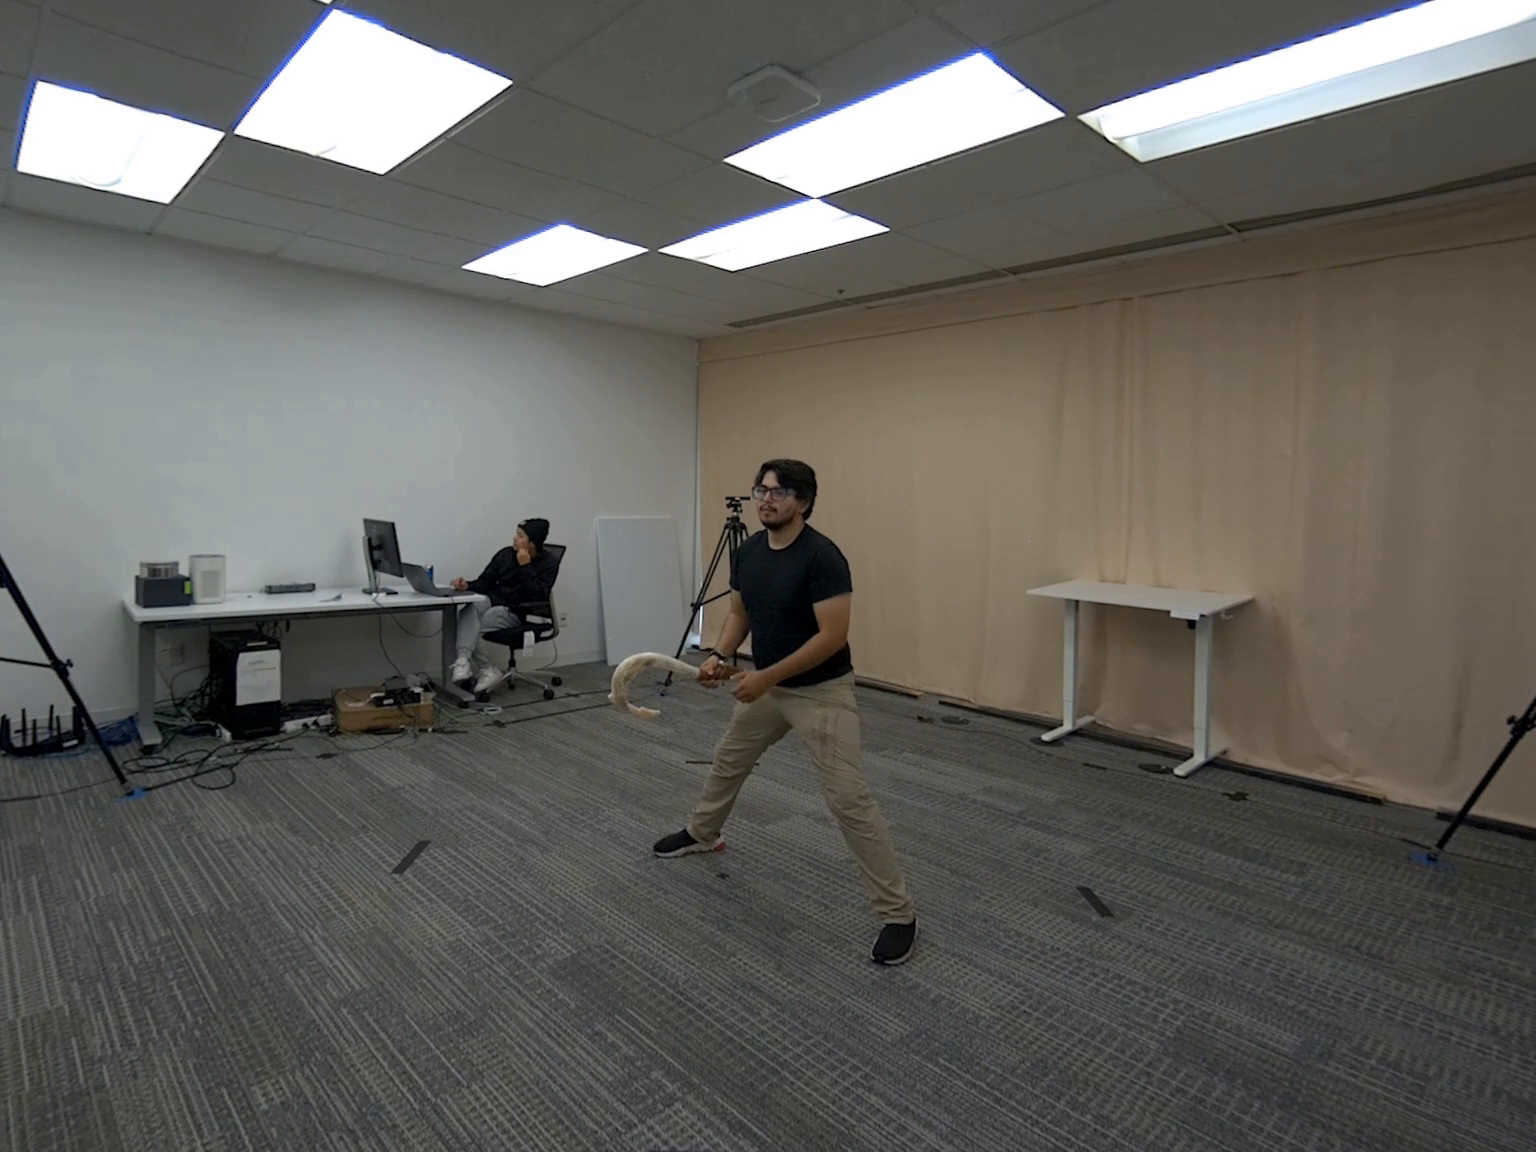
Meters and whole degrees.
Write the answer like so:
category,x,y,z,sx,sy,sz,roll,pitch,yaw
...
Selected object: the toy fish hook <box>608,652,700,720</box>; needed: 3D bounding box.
category,x,y,z,sx,sy,sz,roll,pitch,yaw
toy fish hook,-0.295,0.368,2.792,0.494,0.223,0.050,9,13,-31
